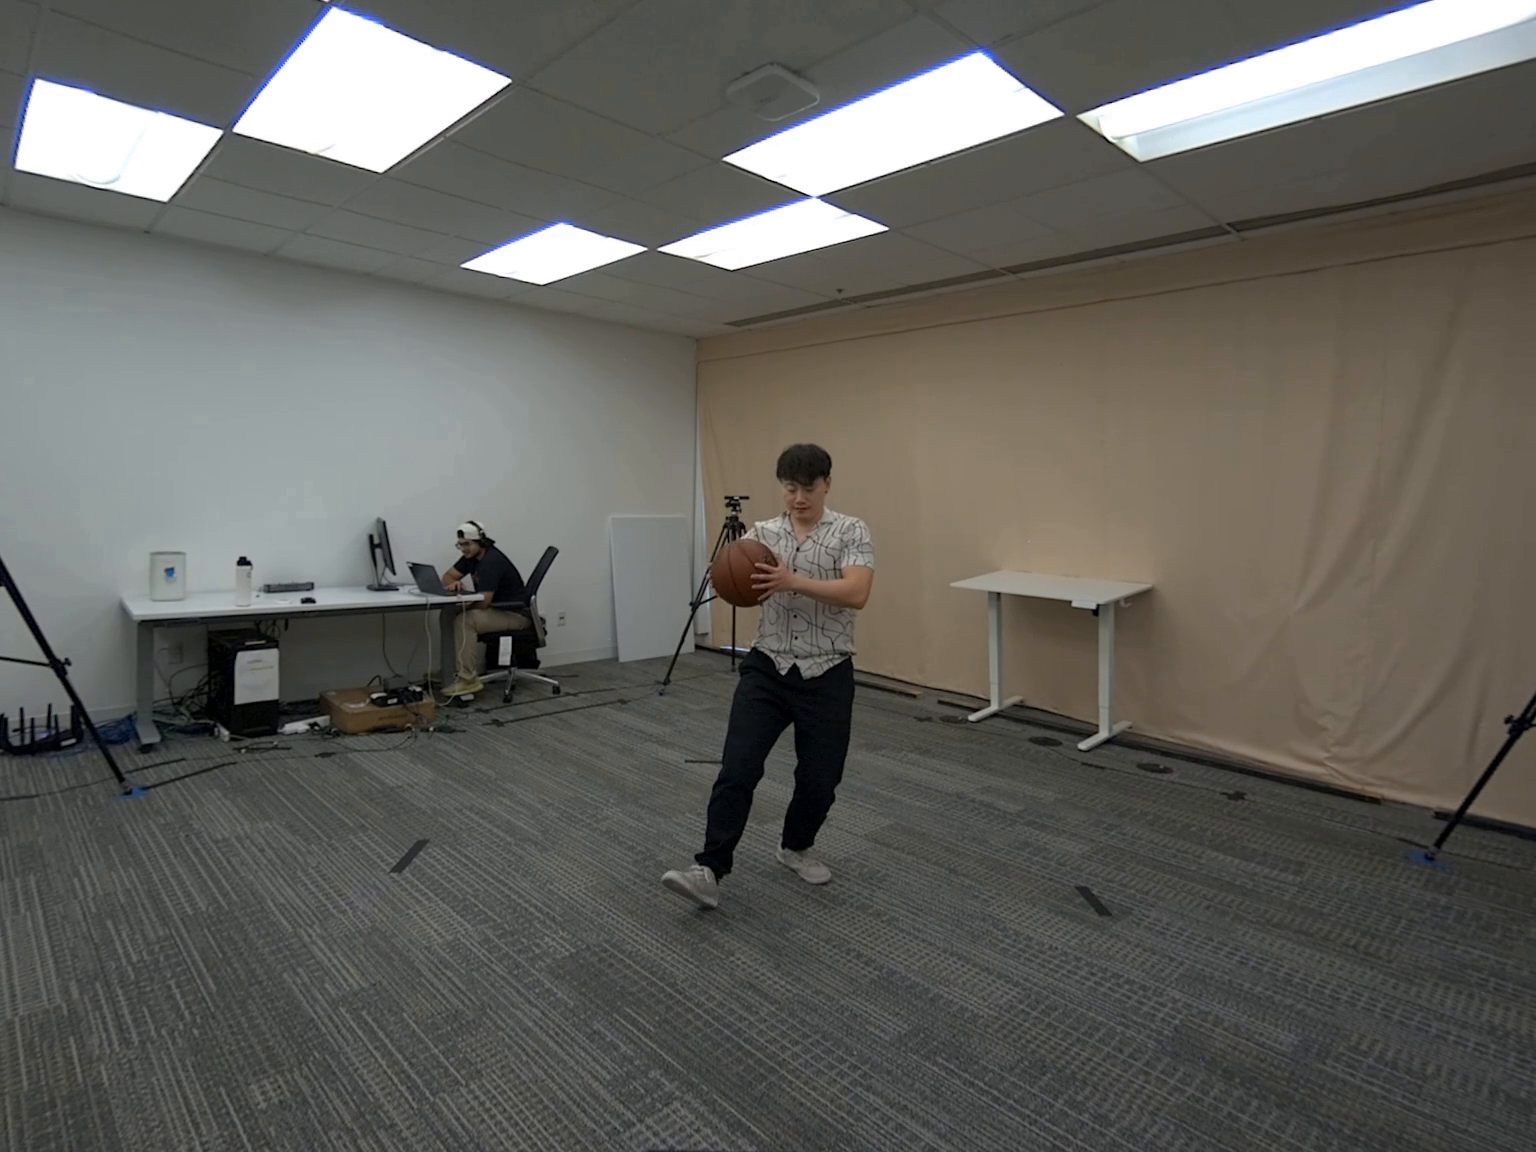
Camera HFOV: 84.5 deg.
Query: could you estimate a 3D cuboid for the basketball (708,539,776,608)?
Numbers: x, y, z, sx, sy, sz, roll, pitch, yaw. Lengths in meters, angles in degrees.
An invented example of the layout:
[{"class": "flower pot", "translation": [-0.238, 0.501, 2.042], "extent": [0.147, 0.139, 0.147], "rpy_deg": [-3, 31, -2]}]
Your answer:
[{"class": "basketball", "translation": [-0.094, -0.009, 2.908], "extent": [0.236, 0.235, 0.237], "rpy_deg": [1, 4, -1]}]
